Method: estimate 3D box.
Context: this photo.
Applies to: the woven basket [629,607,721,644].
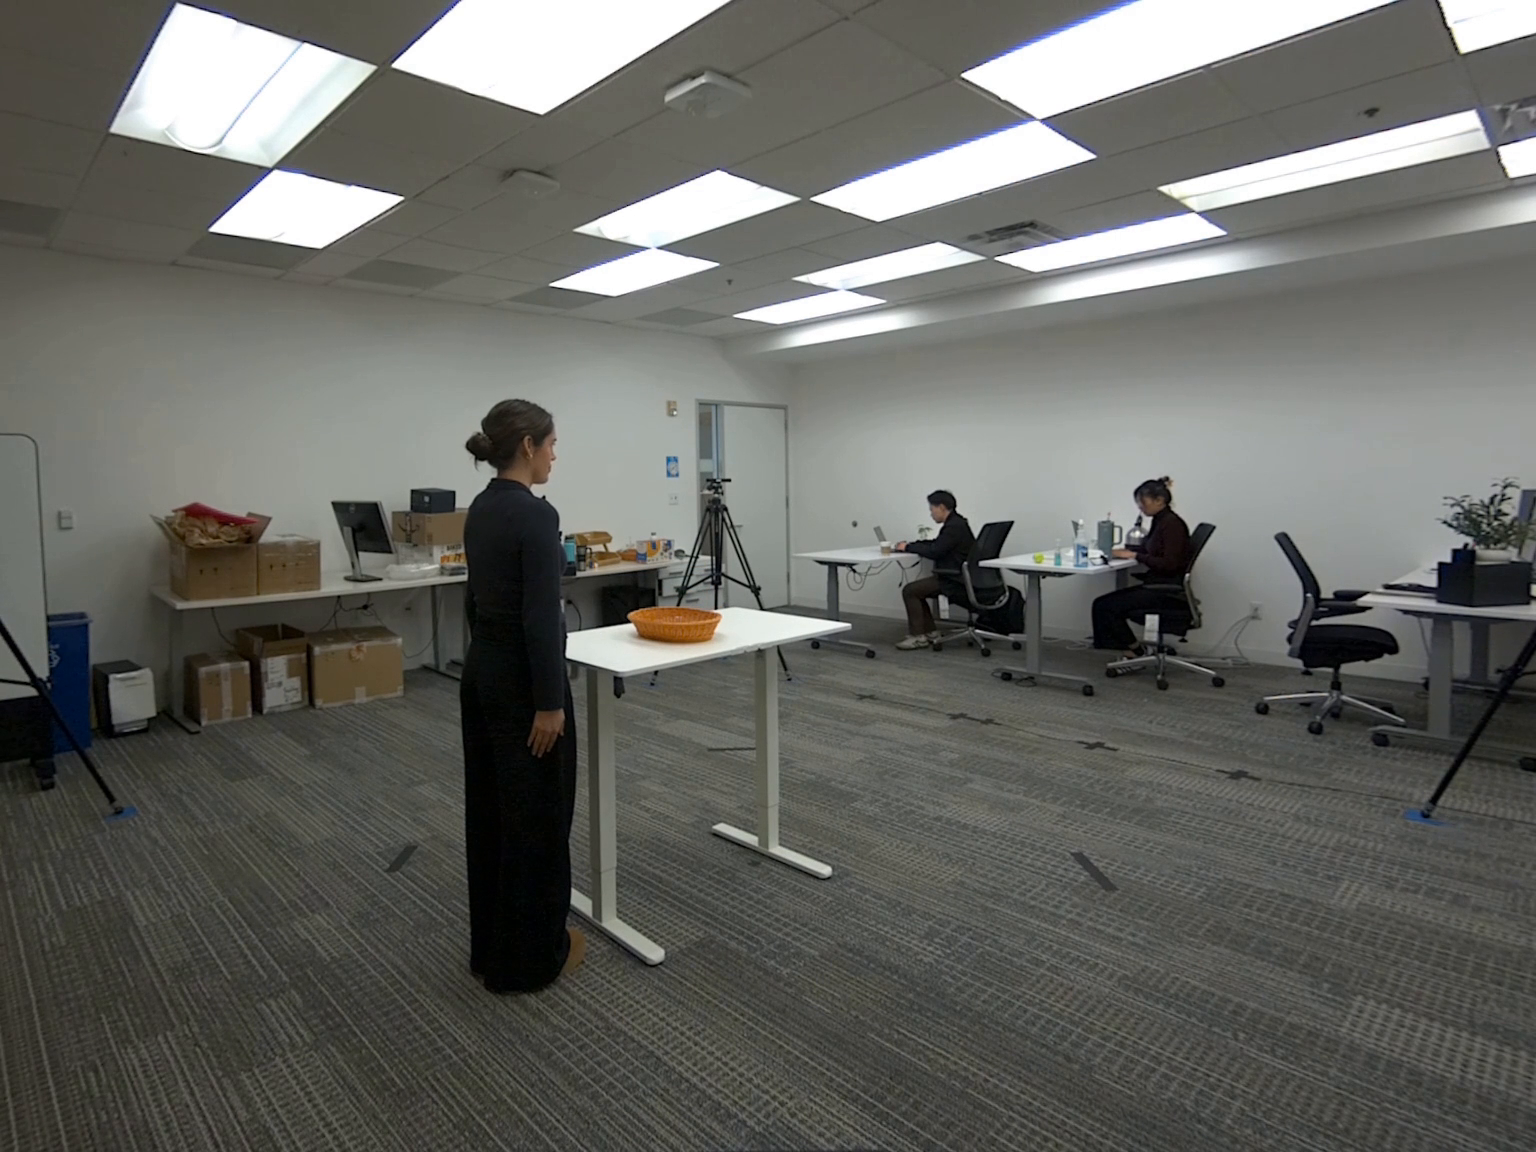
[{"bbox_3d":[-0.311,0.170,2.815,0.246,0.073,0.361,-7,8,-41],"label":"woven basket"}]
